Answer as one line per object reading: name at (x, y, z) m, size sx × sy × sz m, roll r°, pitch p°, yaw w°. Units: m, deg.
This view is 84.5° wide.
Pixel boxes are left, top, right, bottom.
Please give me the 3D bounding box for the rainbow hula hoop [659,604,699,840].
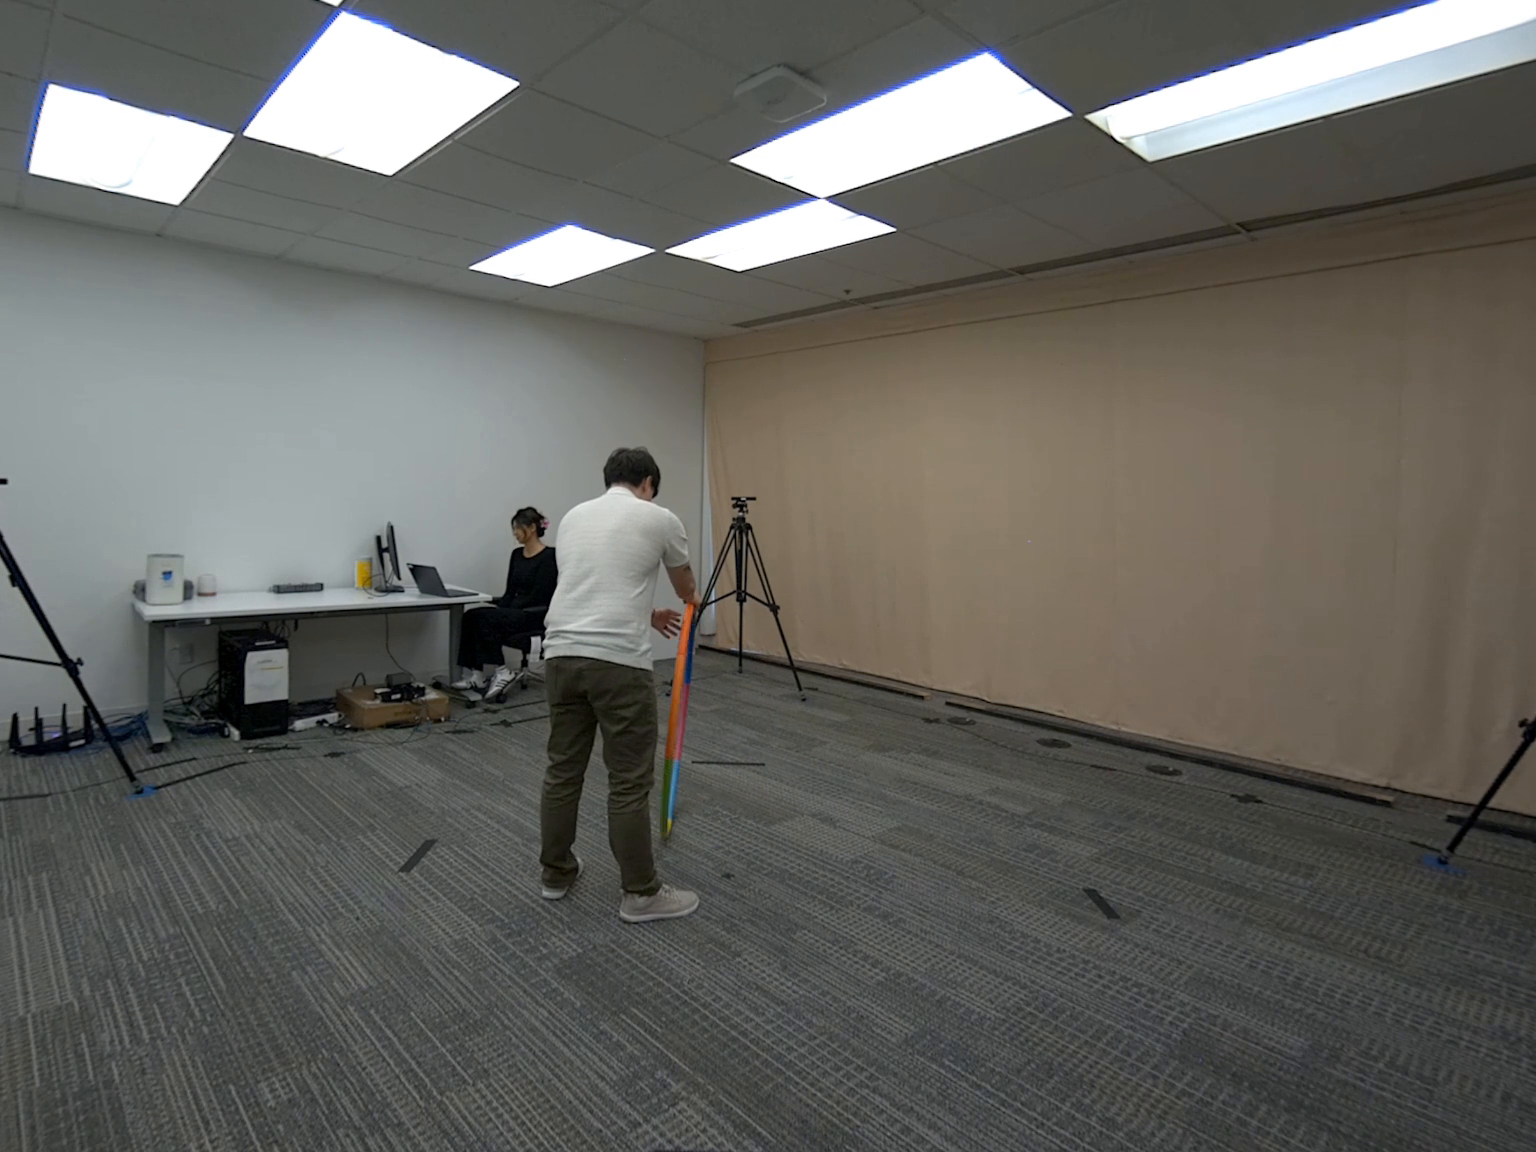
rainbow hula hoop at (-0.377, 0.580, 3.511) m, size 0.035 × 0.976 × 0.983 m, roll 7°, pitch 4°, yaw -4°
